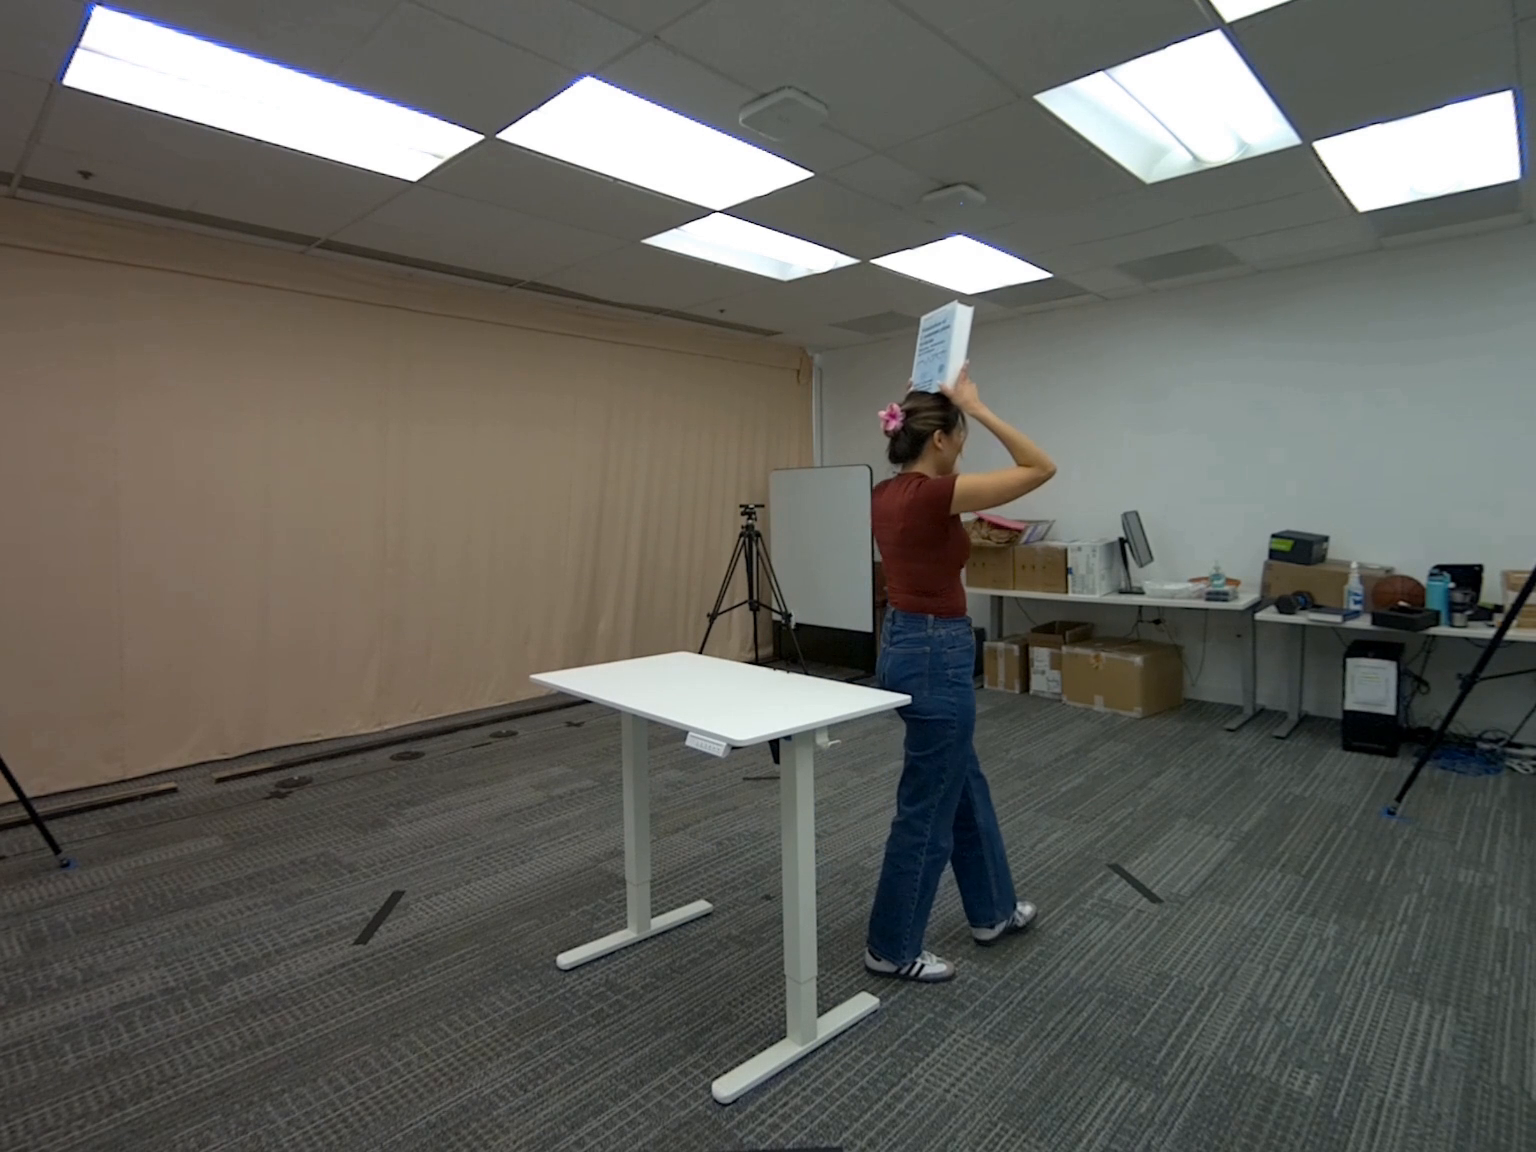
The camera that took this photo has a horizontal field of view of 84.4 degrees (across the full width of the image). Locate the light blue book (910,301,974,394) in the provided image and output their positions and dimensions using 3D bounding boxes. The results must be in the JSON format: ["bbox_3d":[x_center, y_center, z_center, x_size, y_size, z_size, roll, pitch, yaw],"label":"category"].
[{"bbox_3d":[0.508,-0.648,2.457,0.057,0.261,0.195,10,-5,-23],"label":"light blue book"}]
